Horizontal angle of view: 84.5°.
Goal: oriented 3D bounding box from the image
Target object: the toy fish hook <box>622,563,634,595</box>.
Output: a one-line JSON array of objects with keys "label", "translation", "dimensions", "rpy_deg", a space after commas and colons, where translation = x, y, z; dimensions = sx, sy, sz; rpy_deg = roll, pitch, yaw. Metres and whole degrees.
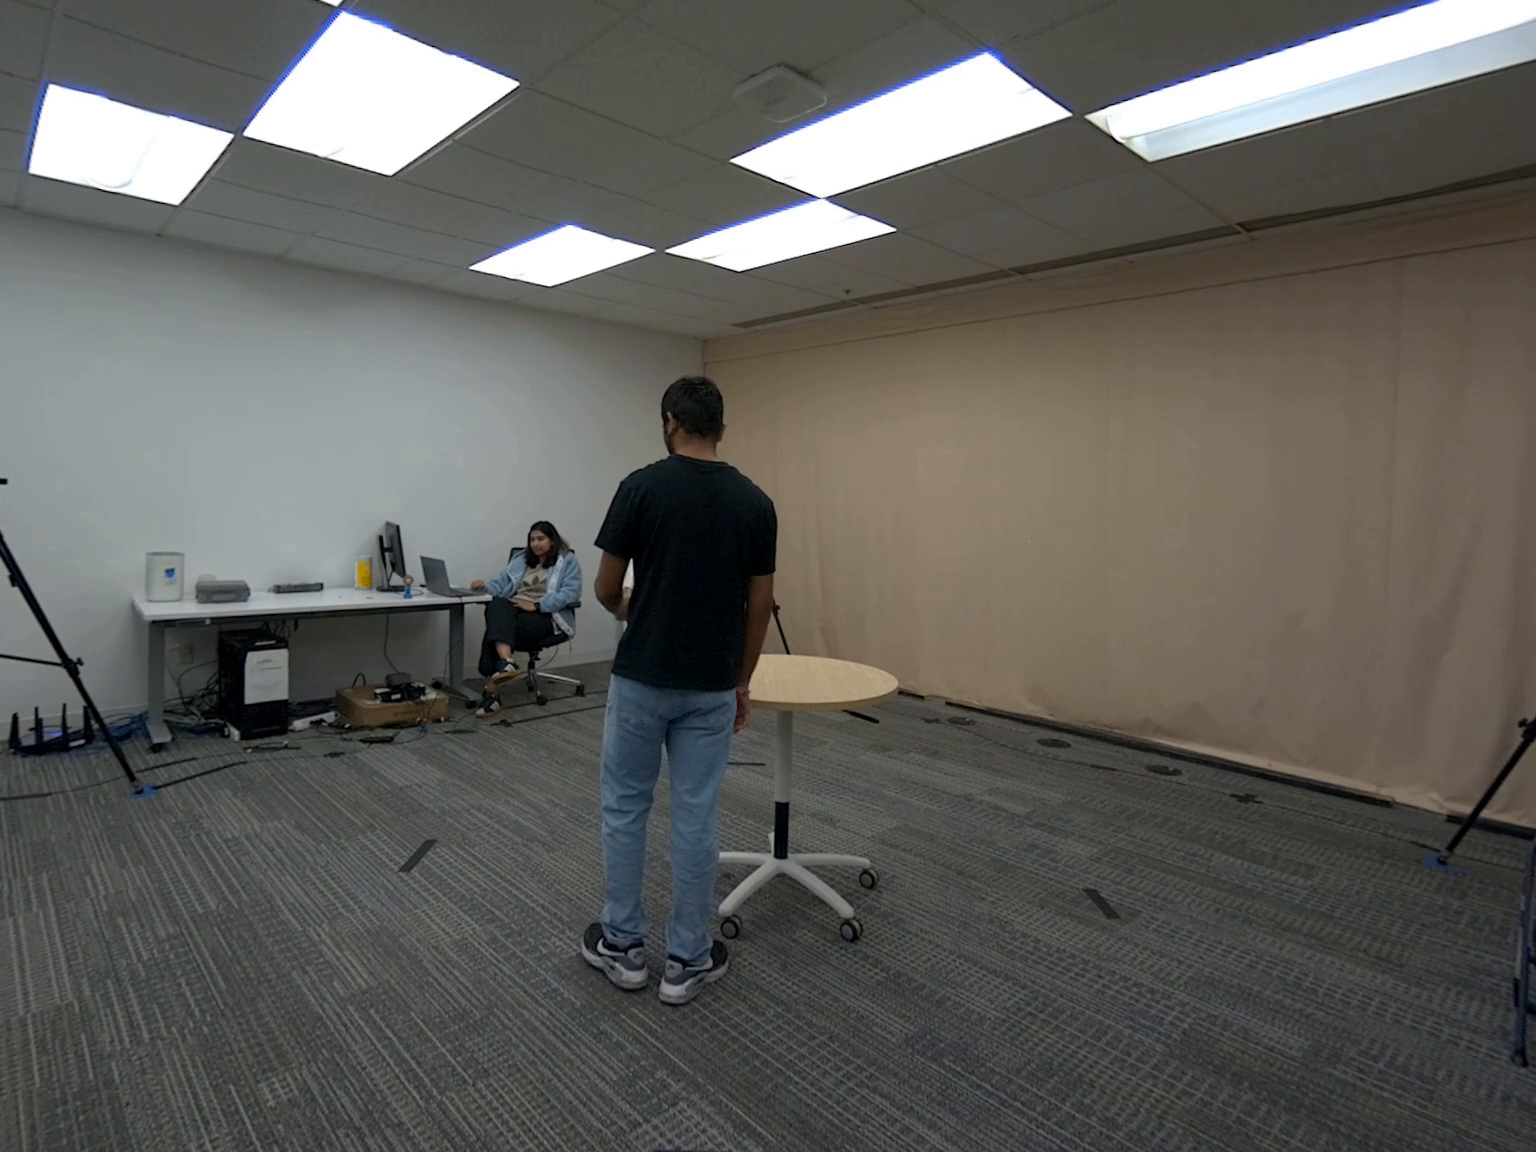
[{"label": "toy fish hook", "translation": [-0.497, 0.081, 2.844], "dimensions": [0.047, 0.223, 0.516], "rpy_deg": [23, 17, -16]}]
